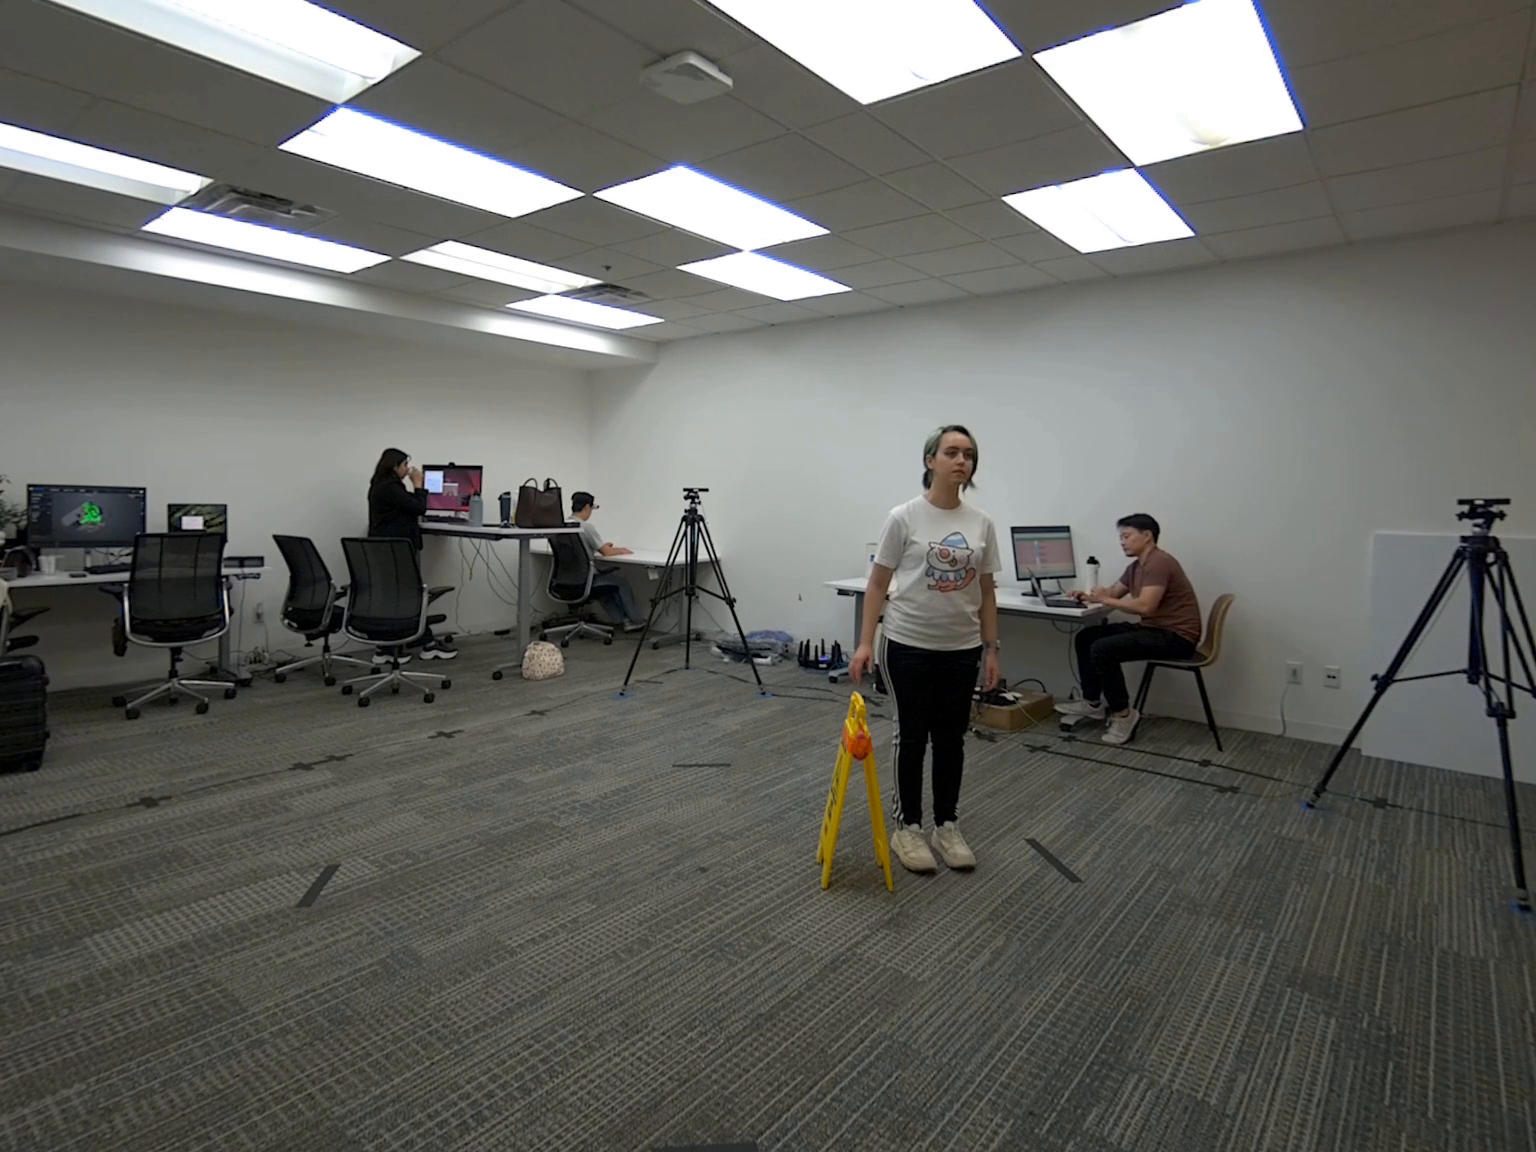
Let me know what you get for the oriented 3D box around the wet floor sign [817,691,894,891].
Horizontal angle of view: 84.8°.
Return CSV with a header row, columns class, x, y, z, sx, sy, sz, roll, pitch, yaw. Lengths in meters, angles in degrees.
class,x,y,z,sx,sy,sz,roll,pitch,yaw
wet floor sign,0.309,0.754,3.079,0.290,0.645,0.283,0,1,-1
